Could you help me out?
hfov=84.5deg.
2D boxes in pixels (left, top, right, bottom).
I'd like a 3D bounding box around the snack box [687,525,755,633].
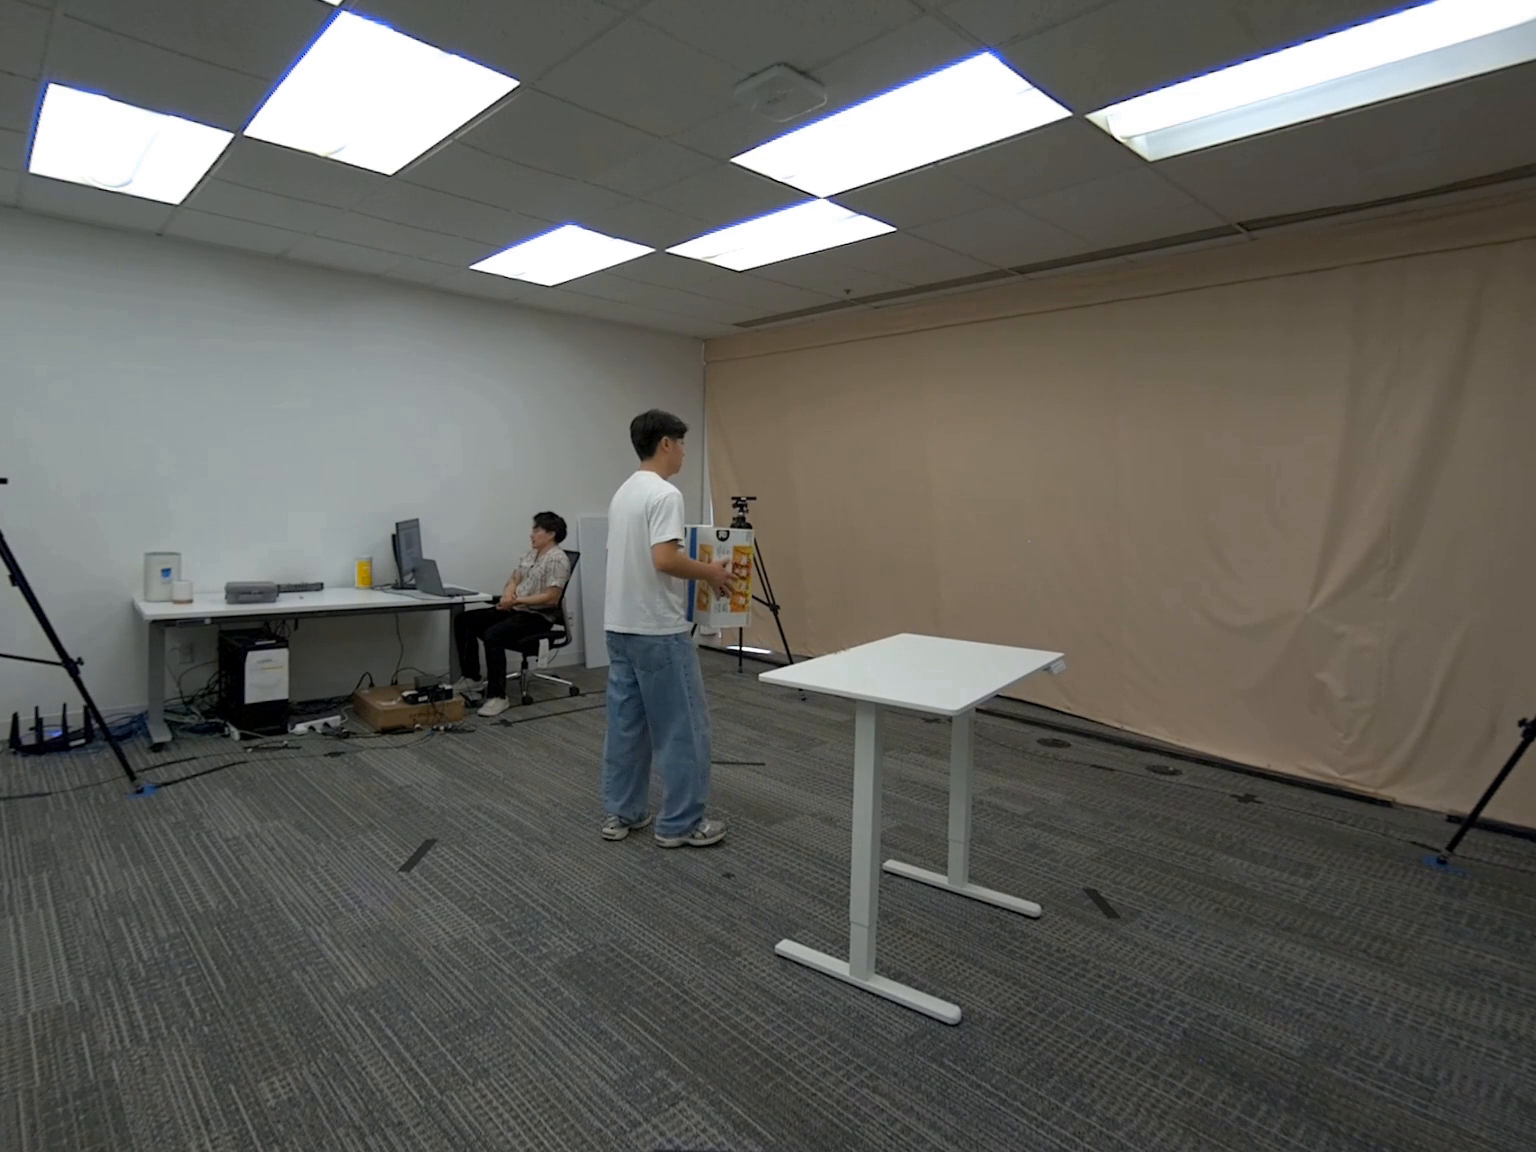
[{"bbox_3d":[-0.245,-0.008,3.607,0.201,0.404,0.349,1,5,-34],"label":"snack box"}]
